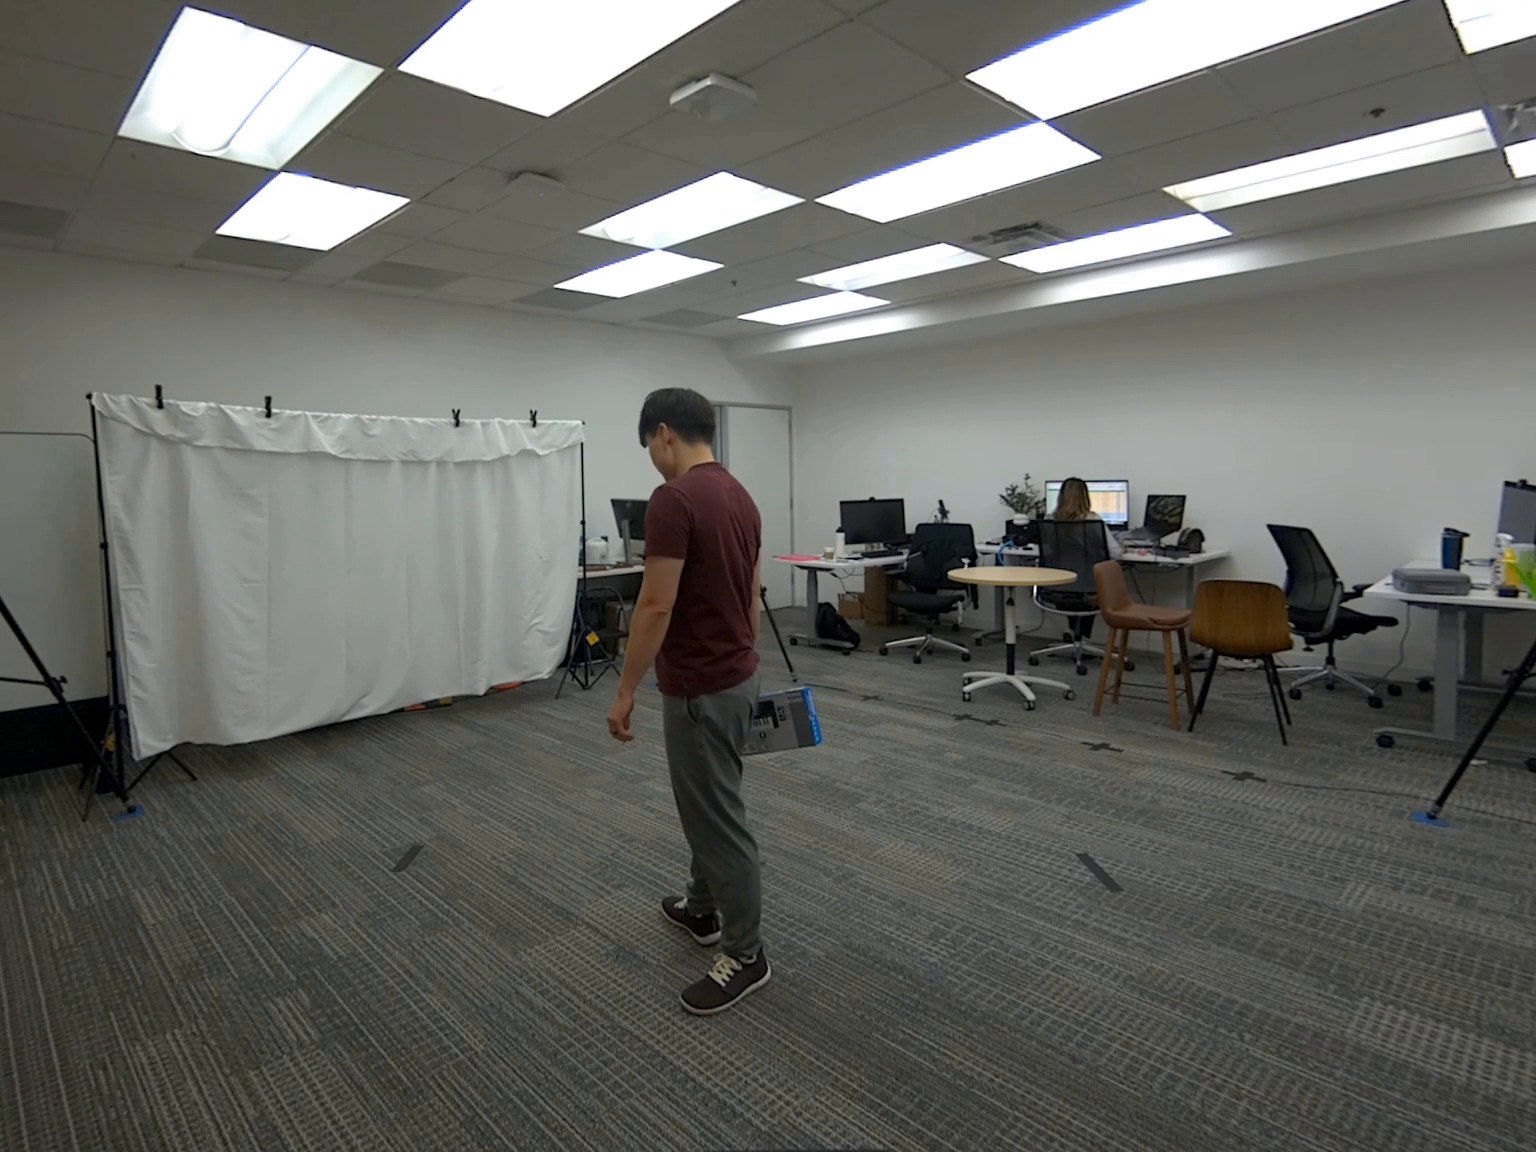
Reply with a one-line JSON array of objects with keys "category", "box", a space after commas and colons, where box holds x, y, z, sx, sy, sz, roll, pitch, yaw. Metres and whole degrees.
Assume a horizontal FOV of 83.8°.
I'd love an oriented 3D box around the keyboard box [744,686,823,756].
[{"category": "keyboard box", "box": [-0.063, 0.465, 2.662, 0.444, 0.177, 0.058, -14, -5, 25]}]
